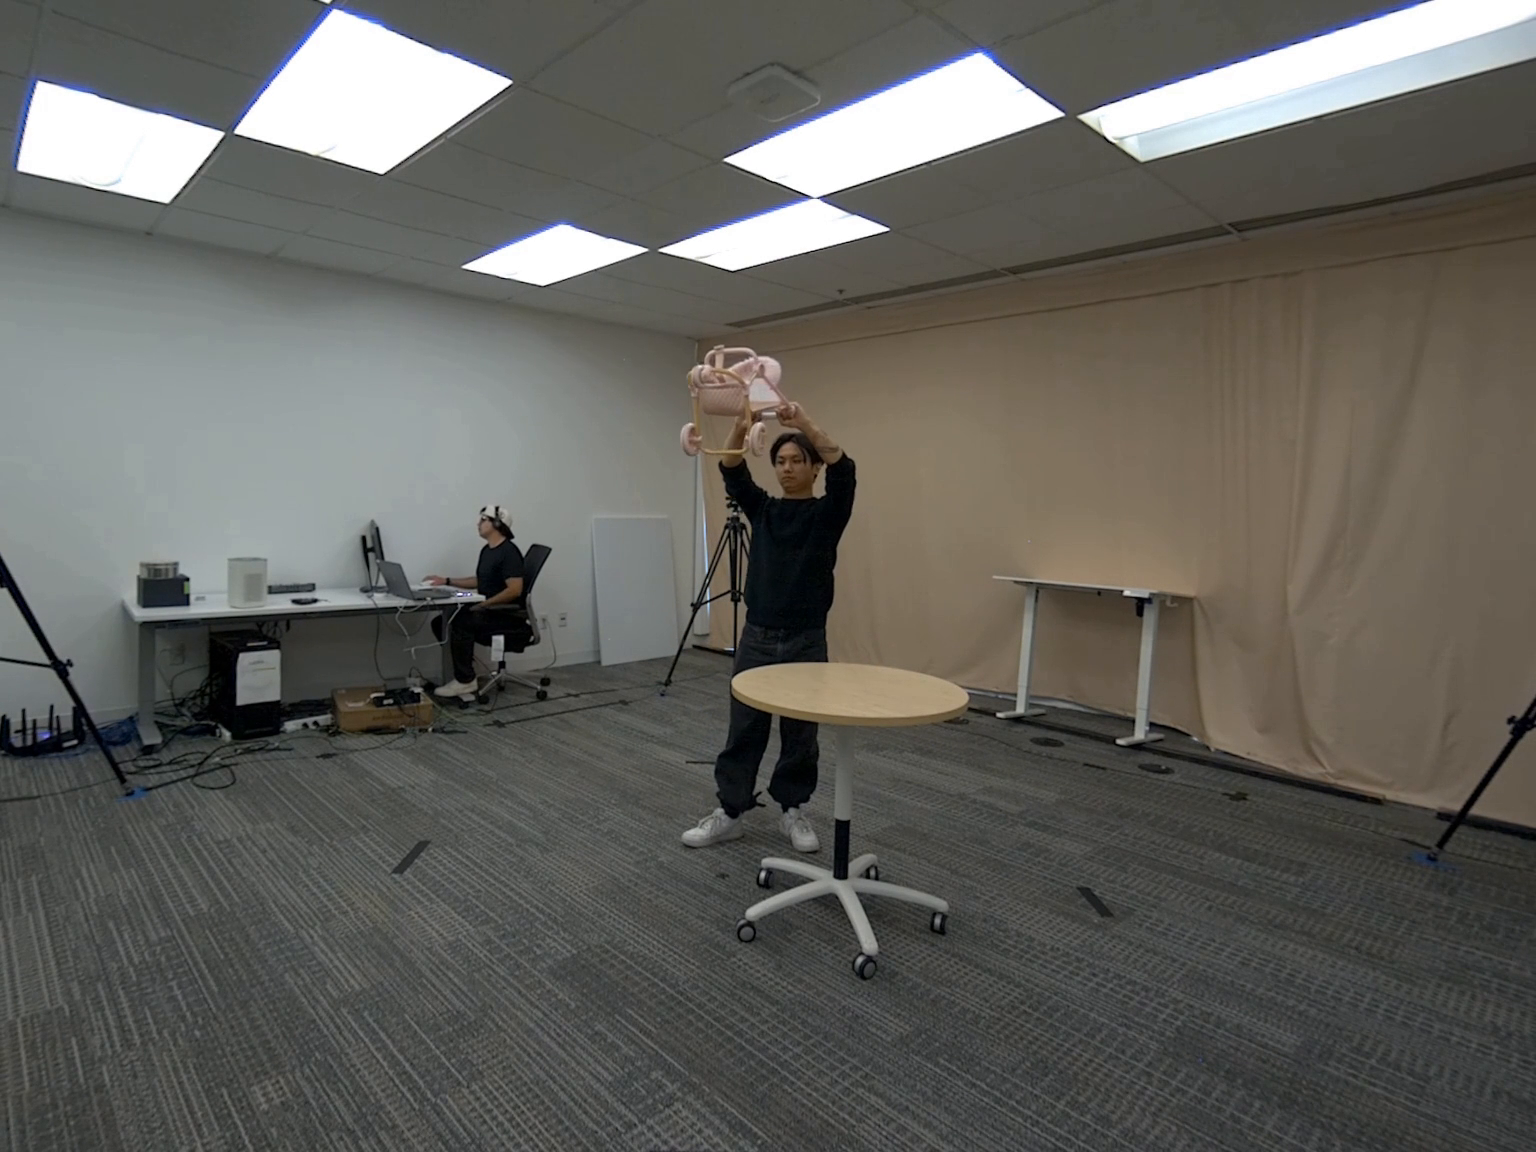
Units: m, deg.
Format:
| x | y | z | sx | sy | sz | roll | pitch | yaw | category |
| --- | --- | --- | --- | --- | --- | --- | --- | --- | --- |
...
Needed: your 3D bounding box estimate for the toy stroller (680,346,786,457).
| x | y | z | sx | sy | sz | roll | pitch | yaw | category |
| --- | --- | --- | --- | --- | --- | --- | --- | --- | --- |
| -0.114 | -0.613 | 2.831 | 0.287 | 0.334 | 0.535 | -1 | 29 | 28 | toy stroller |
